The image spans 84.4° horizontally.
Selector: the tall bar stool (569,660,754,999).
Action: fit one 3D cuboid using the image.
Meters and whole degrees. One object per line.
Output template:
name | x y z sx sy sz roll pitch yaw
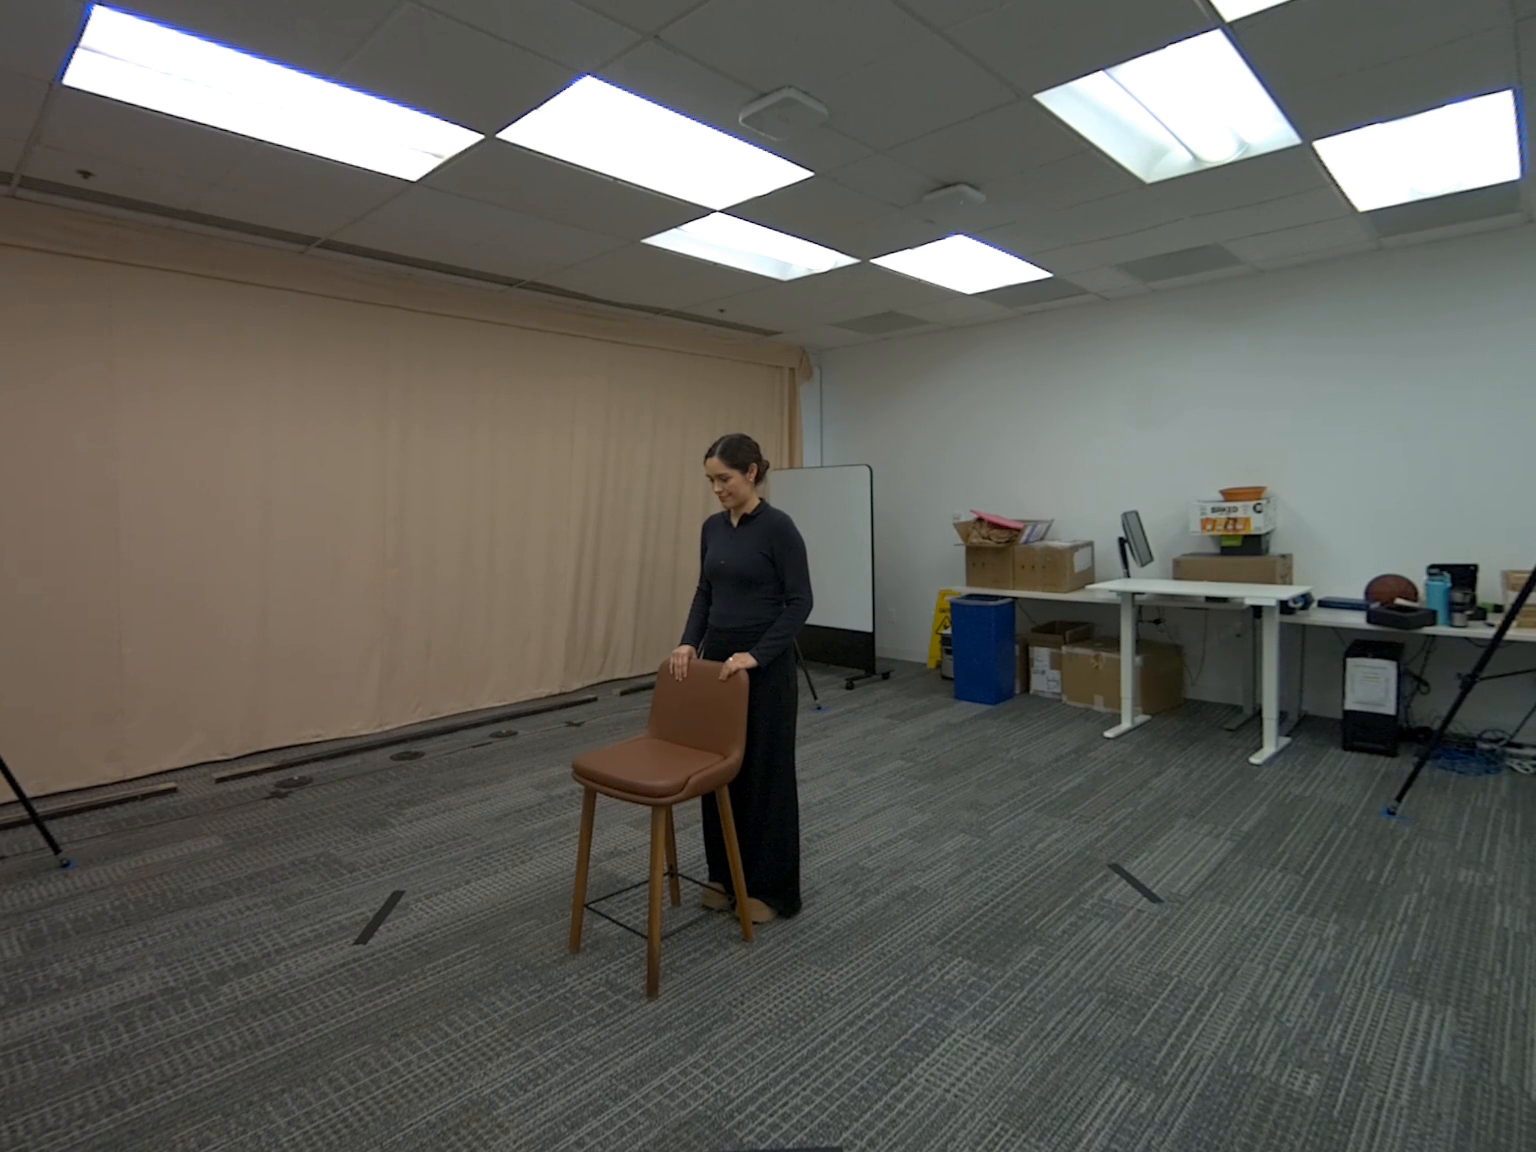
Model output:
tall bar stool | -0.332 0.735 2.654 0.471 0.889 0.453 2 2 44
